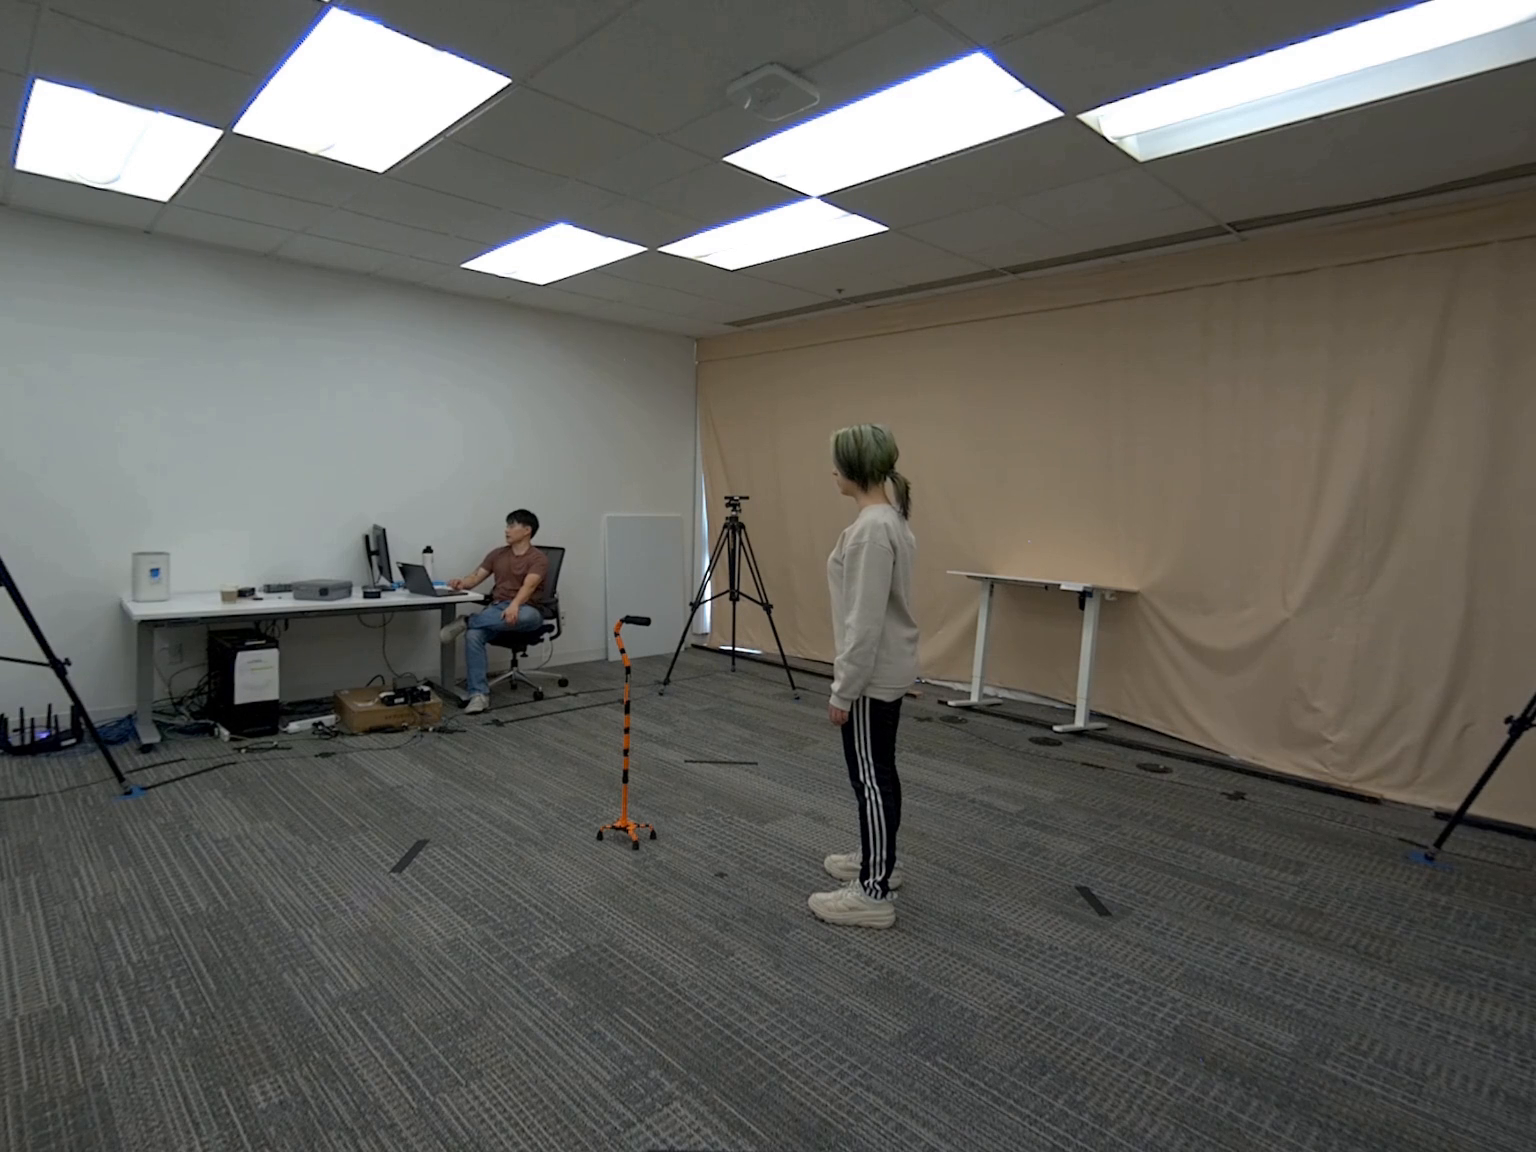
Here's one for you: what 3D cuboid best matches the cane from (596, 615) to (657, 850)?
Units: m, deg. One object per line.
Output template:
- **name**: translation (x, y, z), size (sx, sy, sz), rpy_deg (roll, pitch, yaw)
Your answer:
- **cane**: translation (-0.571, 0.612, 3.391), size (0.210, 0.906, 0.149), rpy_deg (2, 3, 27)
